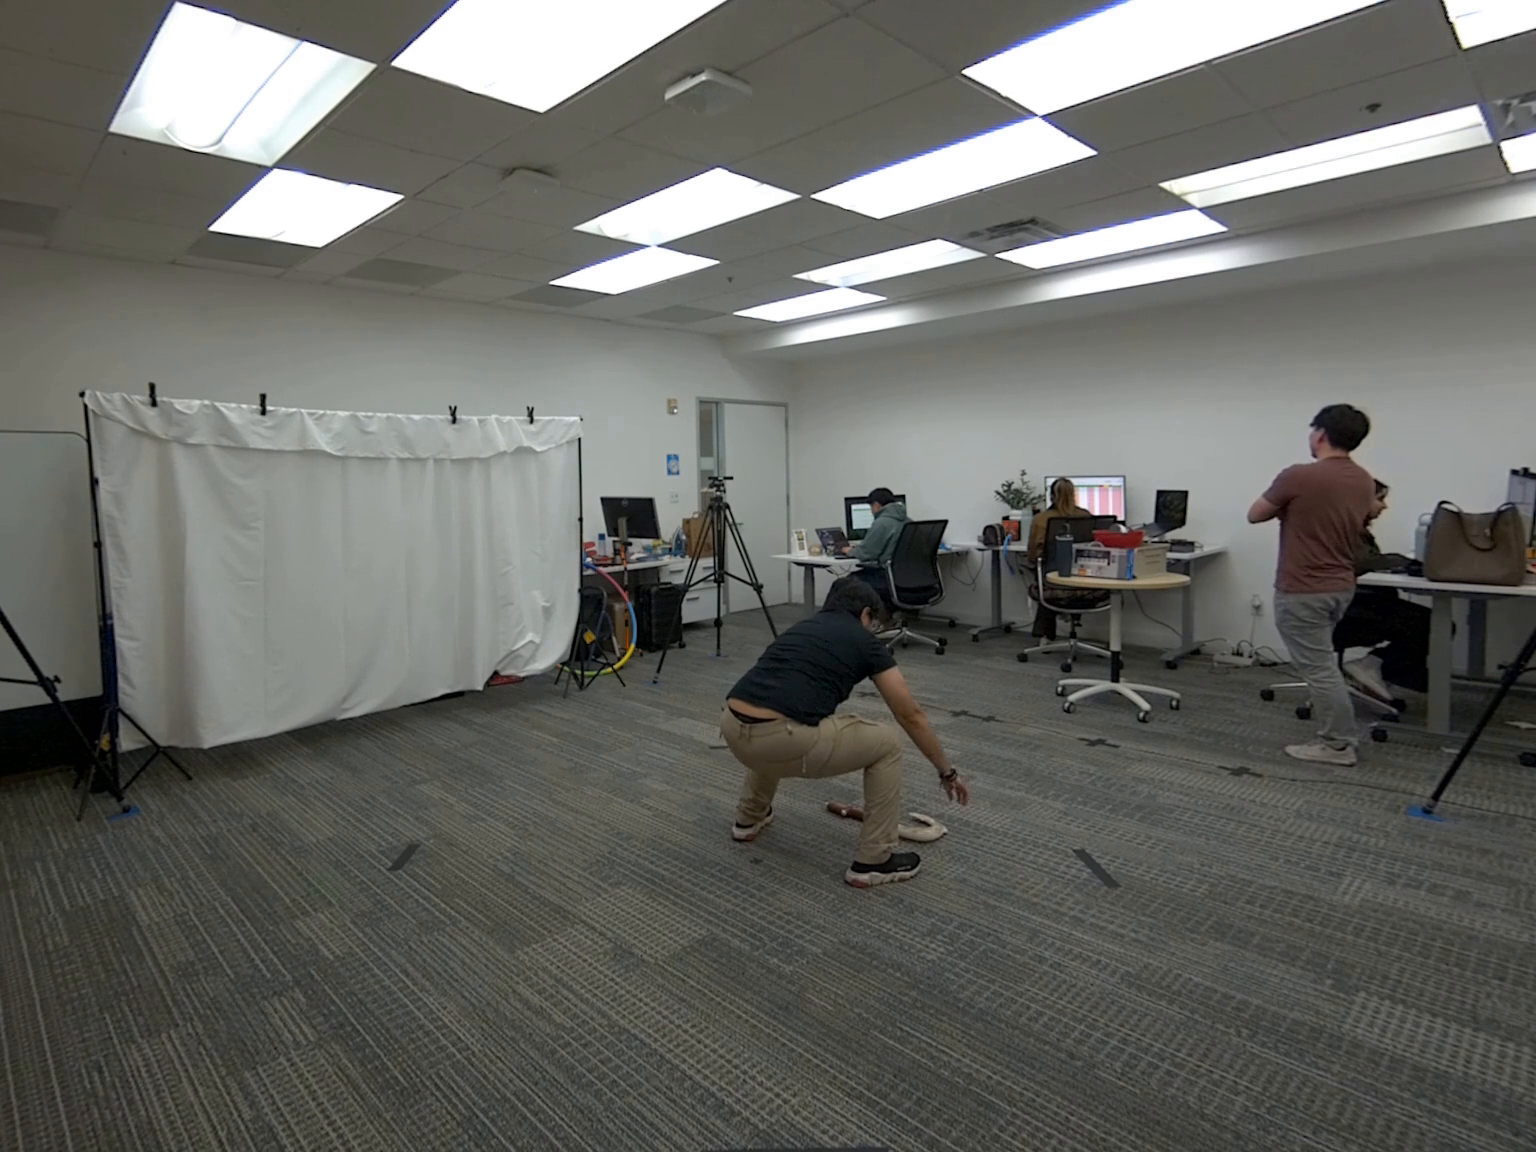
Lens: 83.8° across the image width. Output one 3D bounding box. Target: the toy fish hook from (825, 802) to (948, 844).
[{"bbox_3d":[0.474,0.974,3.435,0.522,0.048,0.218,6,3,42],"label":"toy fish hook"}]
